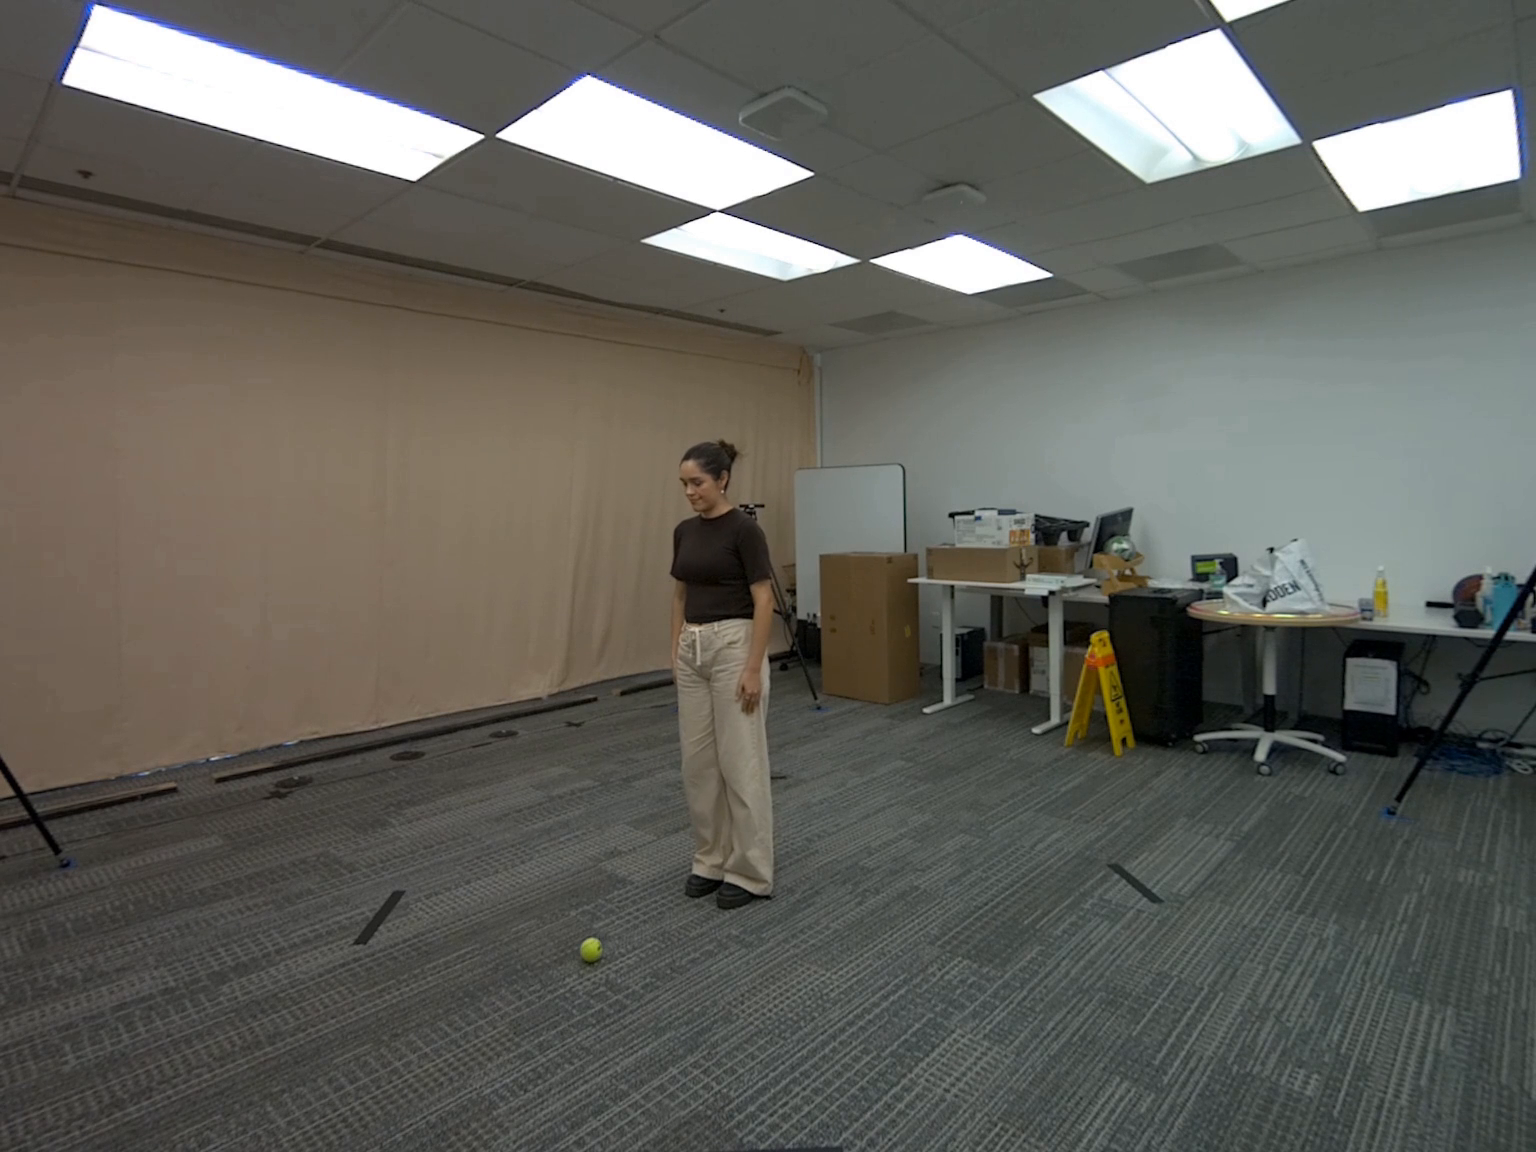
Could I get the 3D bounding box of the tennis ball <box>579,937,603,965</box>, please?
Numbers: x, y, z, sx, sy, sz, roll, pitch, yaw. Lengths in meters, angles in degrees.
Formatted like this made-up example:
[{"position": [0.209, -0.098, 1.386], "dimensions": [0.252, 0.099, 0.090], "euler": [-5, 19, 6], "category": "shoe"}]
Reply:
[{"position": [-0.545, 1.136, 2.587], "dimensions": [0.066, 0.066, 0.067], "euler": [-1, 4, -2], "category": "tennis ball"}]
